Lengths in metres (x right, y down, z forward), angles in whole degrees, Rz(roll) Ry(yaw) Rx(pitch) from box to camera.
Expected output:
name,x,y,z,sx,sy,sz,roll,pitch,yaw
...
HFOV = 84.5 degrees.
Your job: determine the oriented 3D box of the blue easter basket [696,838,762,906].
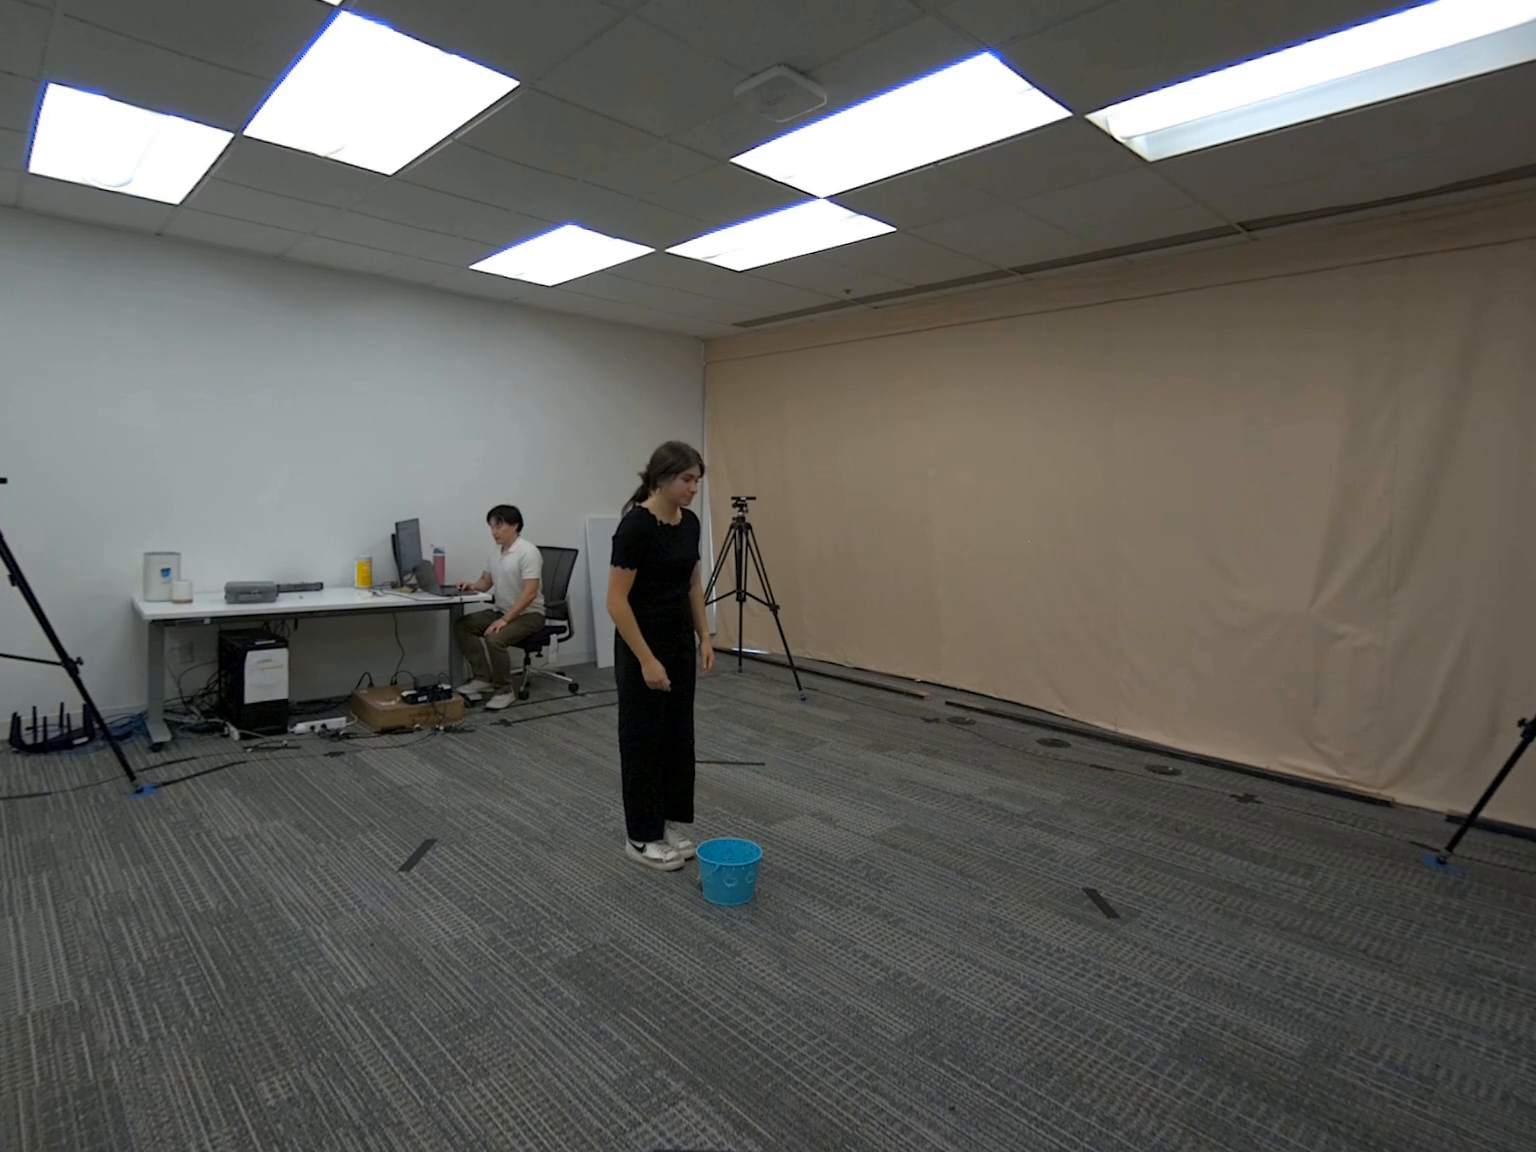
name,x,y,z,sx,sy,sz,roll,pitch,yaw
blue easter basket,-0.150,1.040,2.965,0.243,0.155,0.244,0,5,-1
